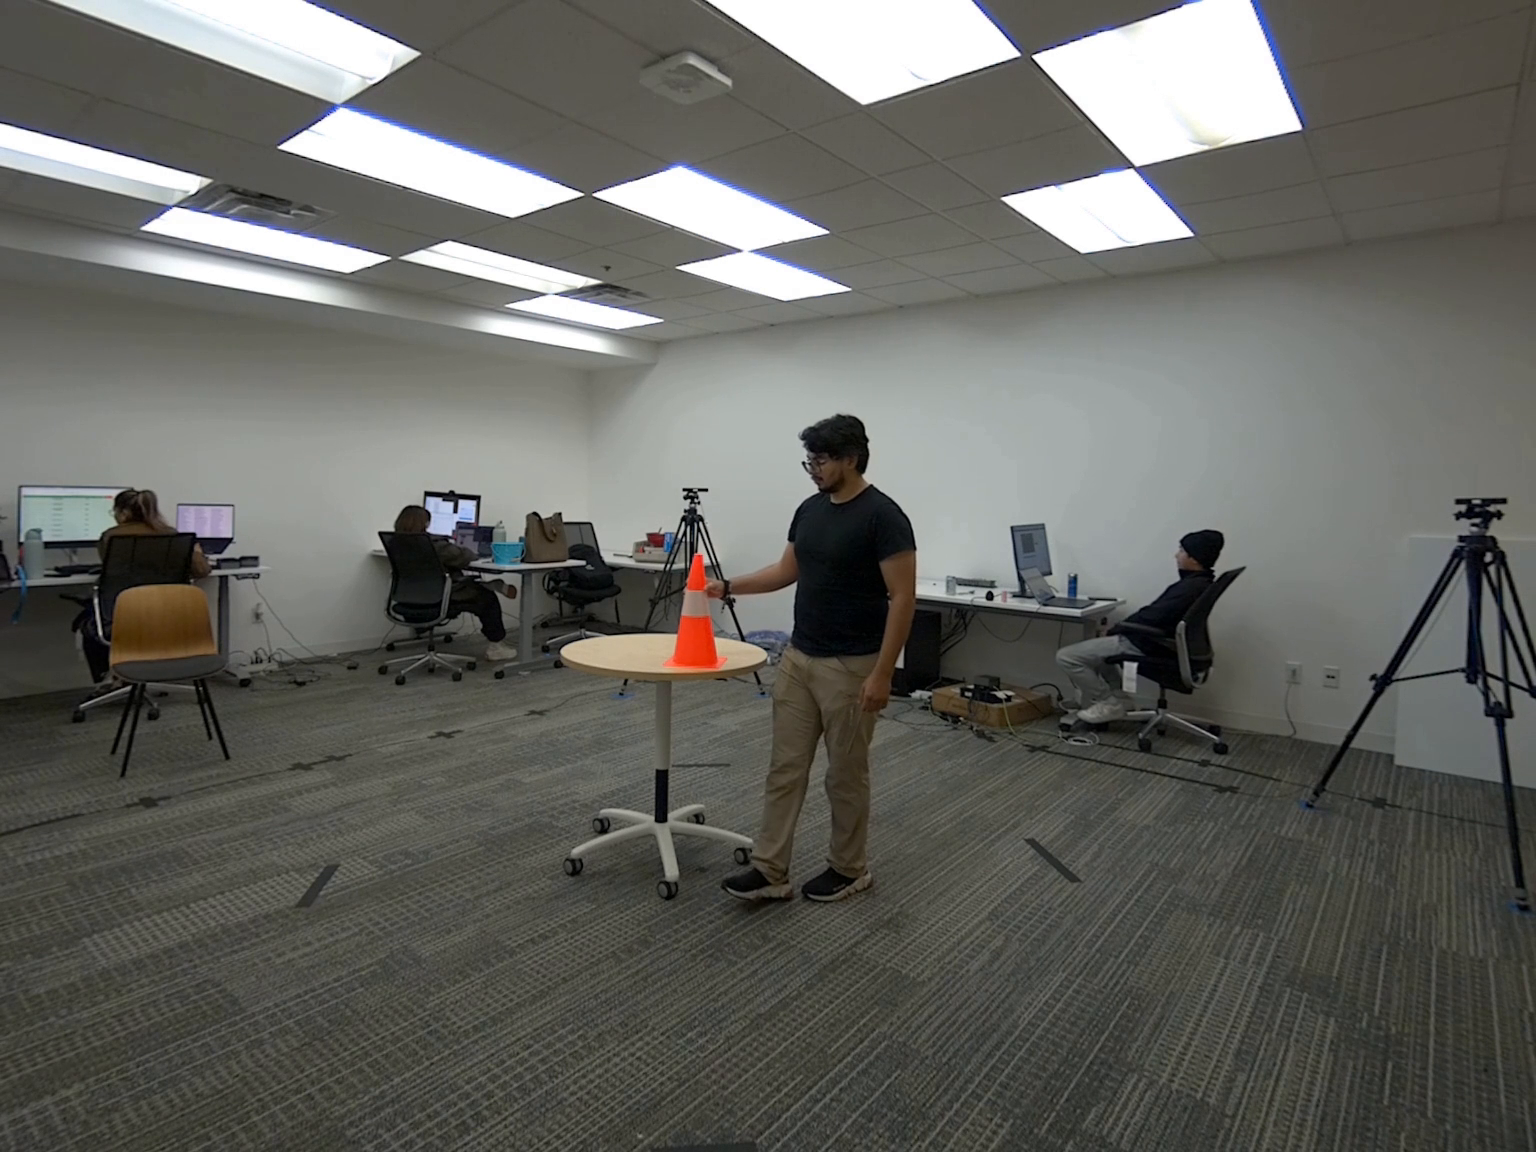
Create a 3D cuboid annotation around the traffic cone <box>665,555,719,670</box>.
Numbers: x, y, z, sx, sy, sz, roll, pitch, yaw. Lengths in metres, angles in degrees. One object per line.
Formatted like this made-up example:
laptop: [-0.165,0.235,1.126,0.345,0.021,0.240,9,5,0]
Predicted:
traffic cone: [-0.255,0.113,2.972,0.203,0.381,0.207,1,7,-11]
